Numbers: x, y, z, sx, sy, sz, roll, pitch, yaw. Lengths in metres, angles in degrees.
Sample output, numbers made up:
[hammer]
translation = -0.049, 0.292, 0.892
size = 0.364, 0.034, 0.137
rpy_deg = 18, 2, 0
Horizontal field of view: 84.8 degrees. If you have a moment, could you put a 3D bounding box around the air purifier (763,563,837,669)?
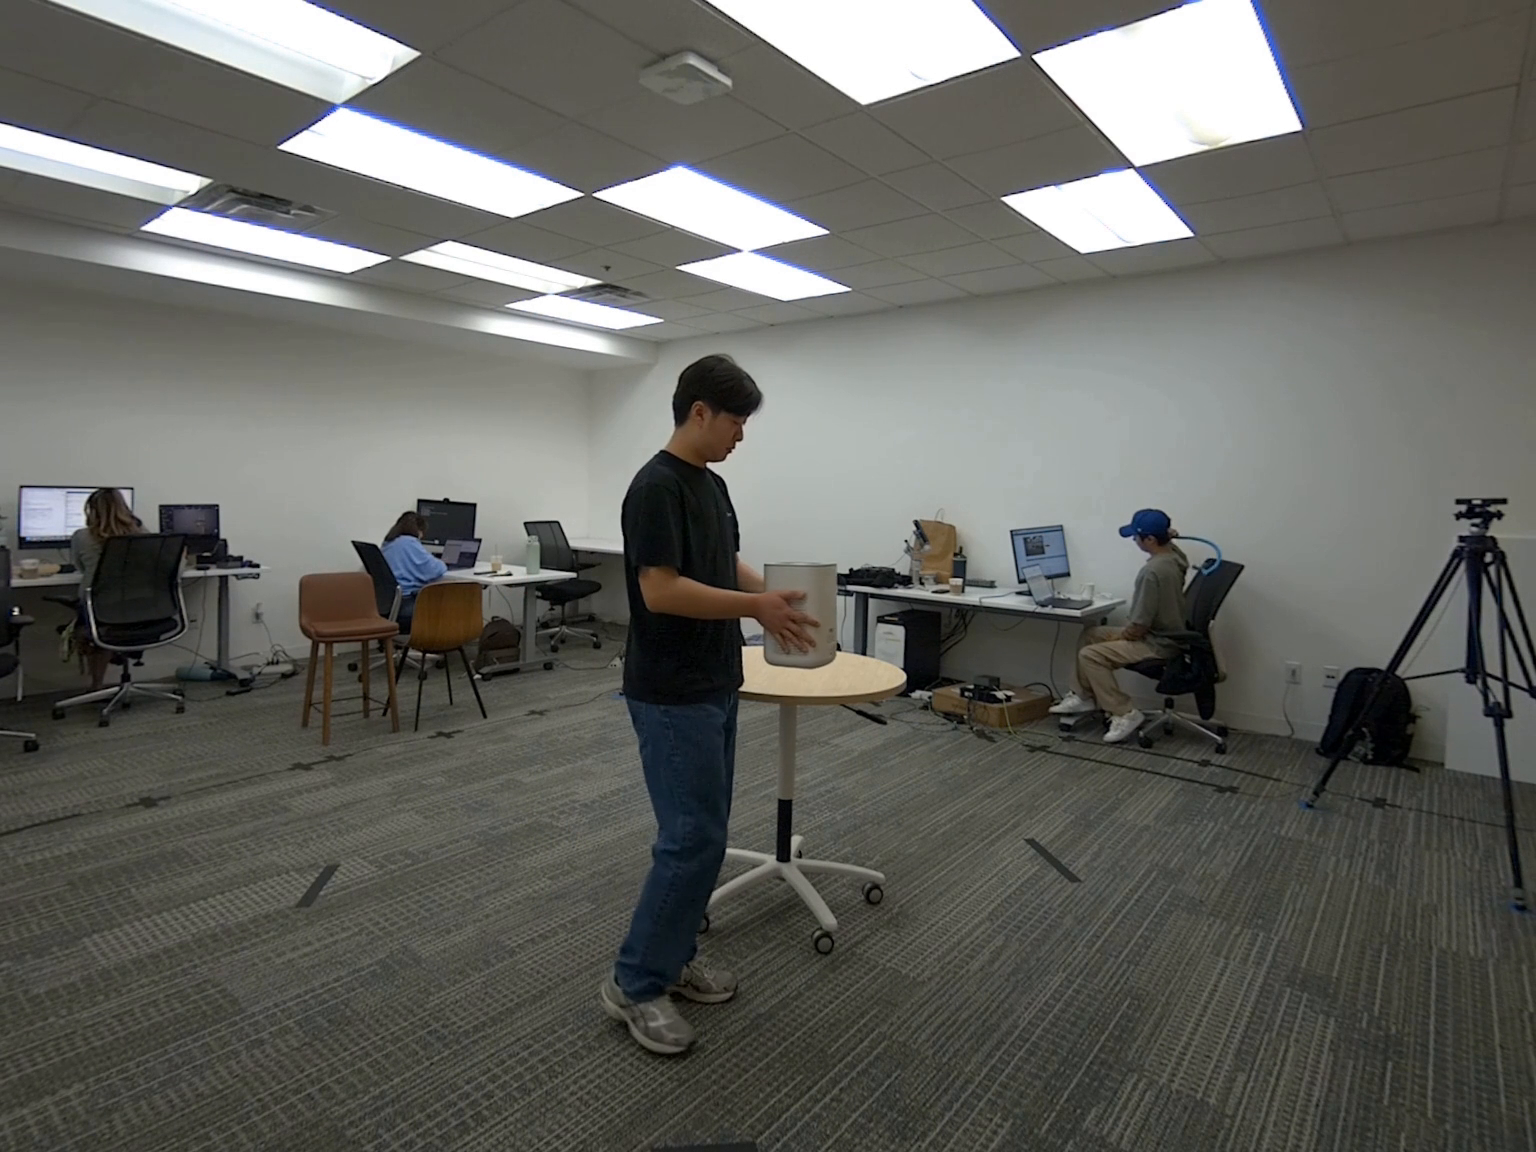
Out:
[air purifier]
translation = 0.078, 0.099, 2.208
size = 0.175, 0.265, 0.168
rpy_deg = 1, 2, 20
